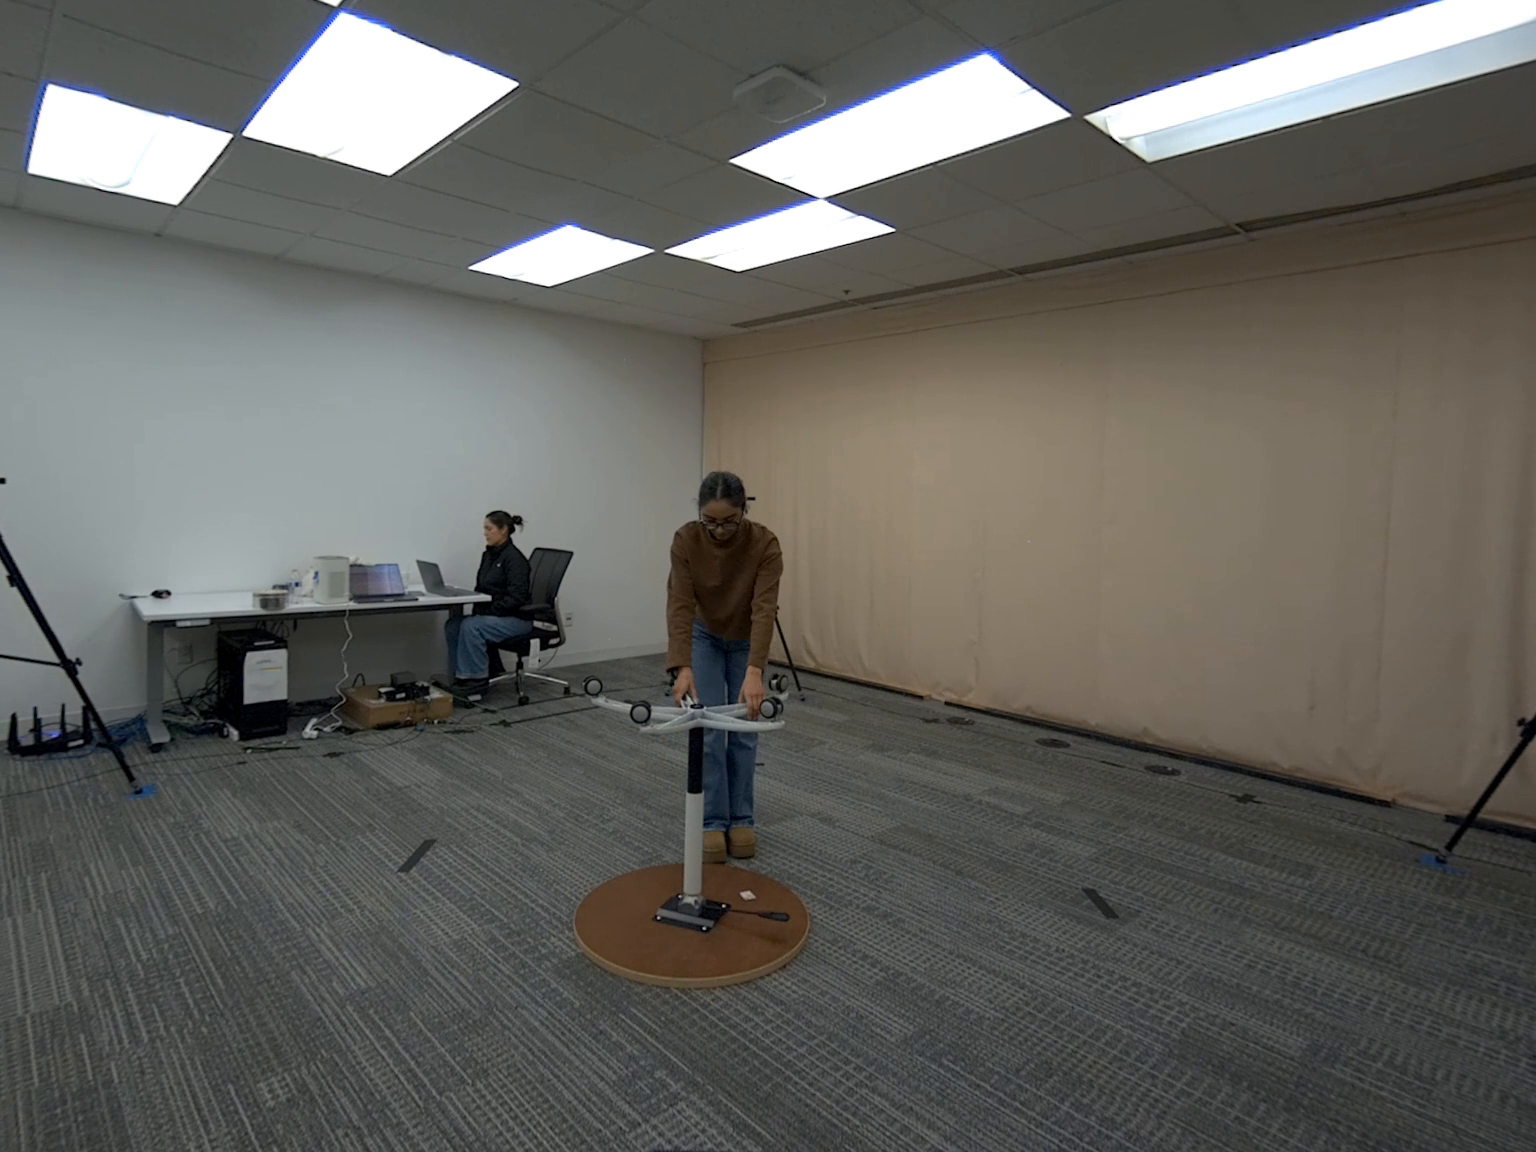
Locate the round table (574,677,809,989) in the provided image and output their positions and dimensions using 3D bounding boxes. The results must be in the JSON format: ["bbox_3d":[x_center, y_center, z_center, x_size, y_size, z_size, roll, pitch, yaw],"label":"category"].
[{"bbox_3d":[-0.246,0.747,2.732,0.763,0.792,0.767,1,4,-1],"label":"round table"}]
